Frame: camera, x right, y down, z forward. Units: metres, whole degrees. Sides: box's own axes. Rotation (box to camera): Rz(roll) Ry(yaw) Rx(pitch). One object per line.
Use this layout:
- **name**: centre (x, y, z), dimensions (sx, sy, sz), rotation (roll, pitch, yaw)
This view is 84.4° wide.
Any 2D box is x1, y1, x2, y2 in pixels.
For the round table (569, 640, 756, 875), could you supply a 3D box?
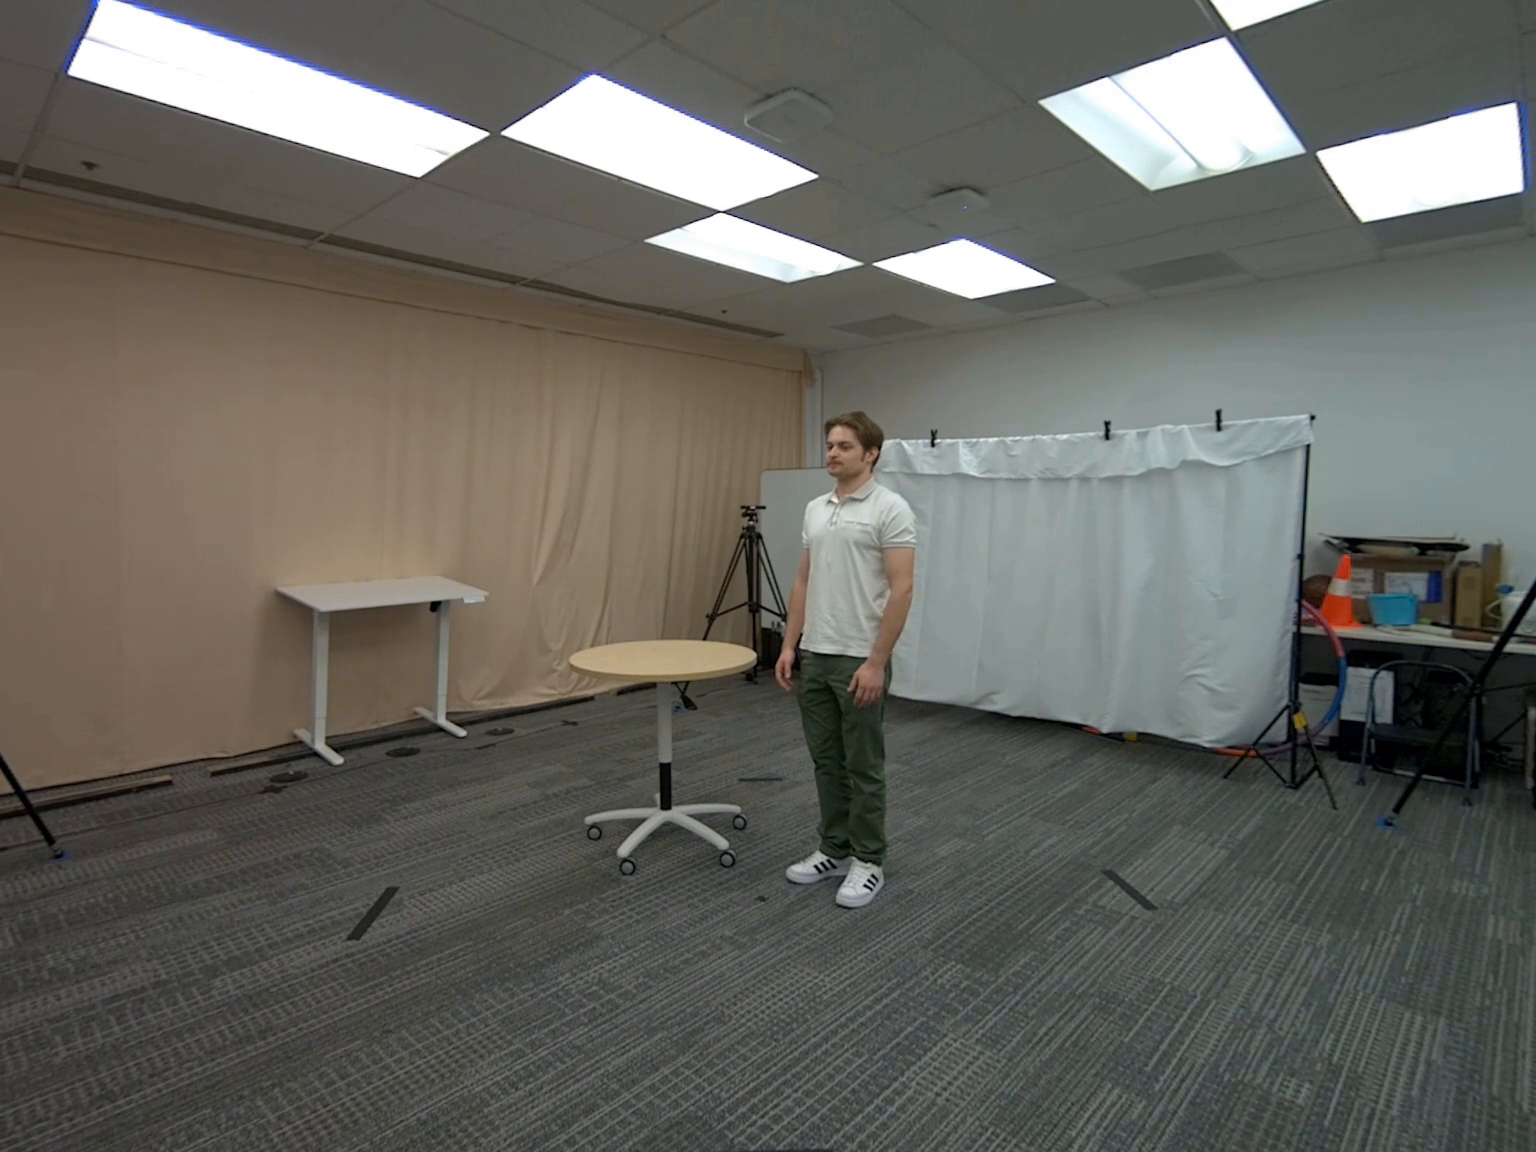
- **round table**: centre (-0.422, 0.719, 3.480), dimensions (0.763, 0.792, 0.766), rotation (-1, 4, -2)
